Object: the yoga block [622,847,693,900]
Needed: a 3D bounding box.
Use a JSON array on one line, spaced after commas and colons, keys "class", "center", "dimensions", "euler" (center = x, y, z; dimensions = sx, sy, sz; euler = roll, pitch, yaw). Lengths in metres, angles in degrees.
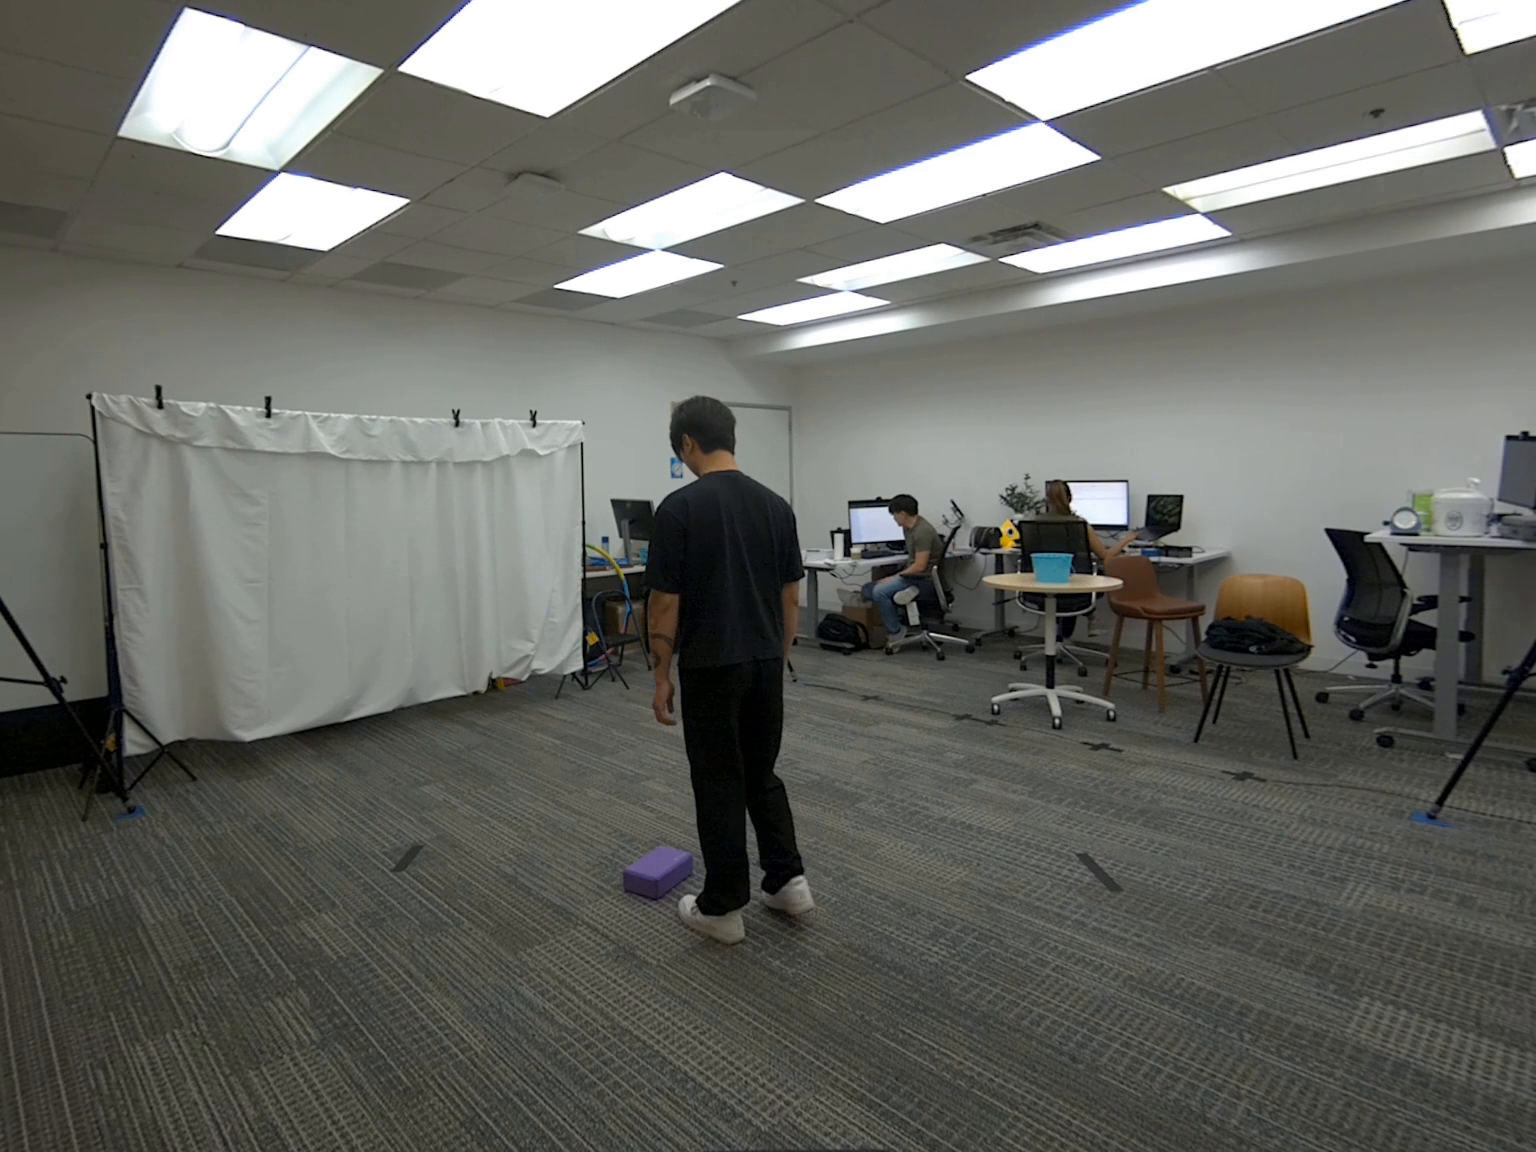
[{"class": "yoga block", "center": [-0.378, 1.030, 2.975], "dimensions": [0.153, 0.076, 0.224], "euler": [3, 8, 29]}]
